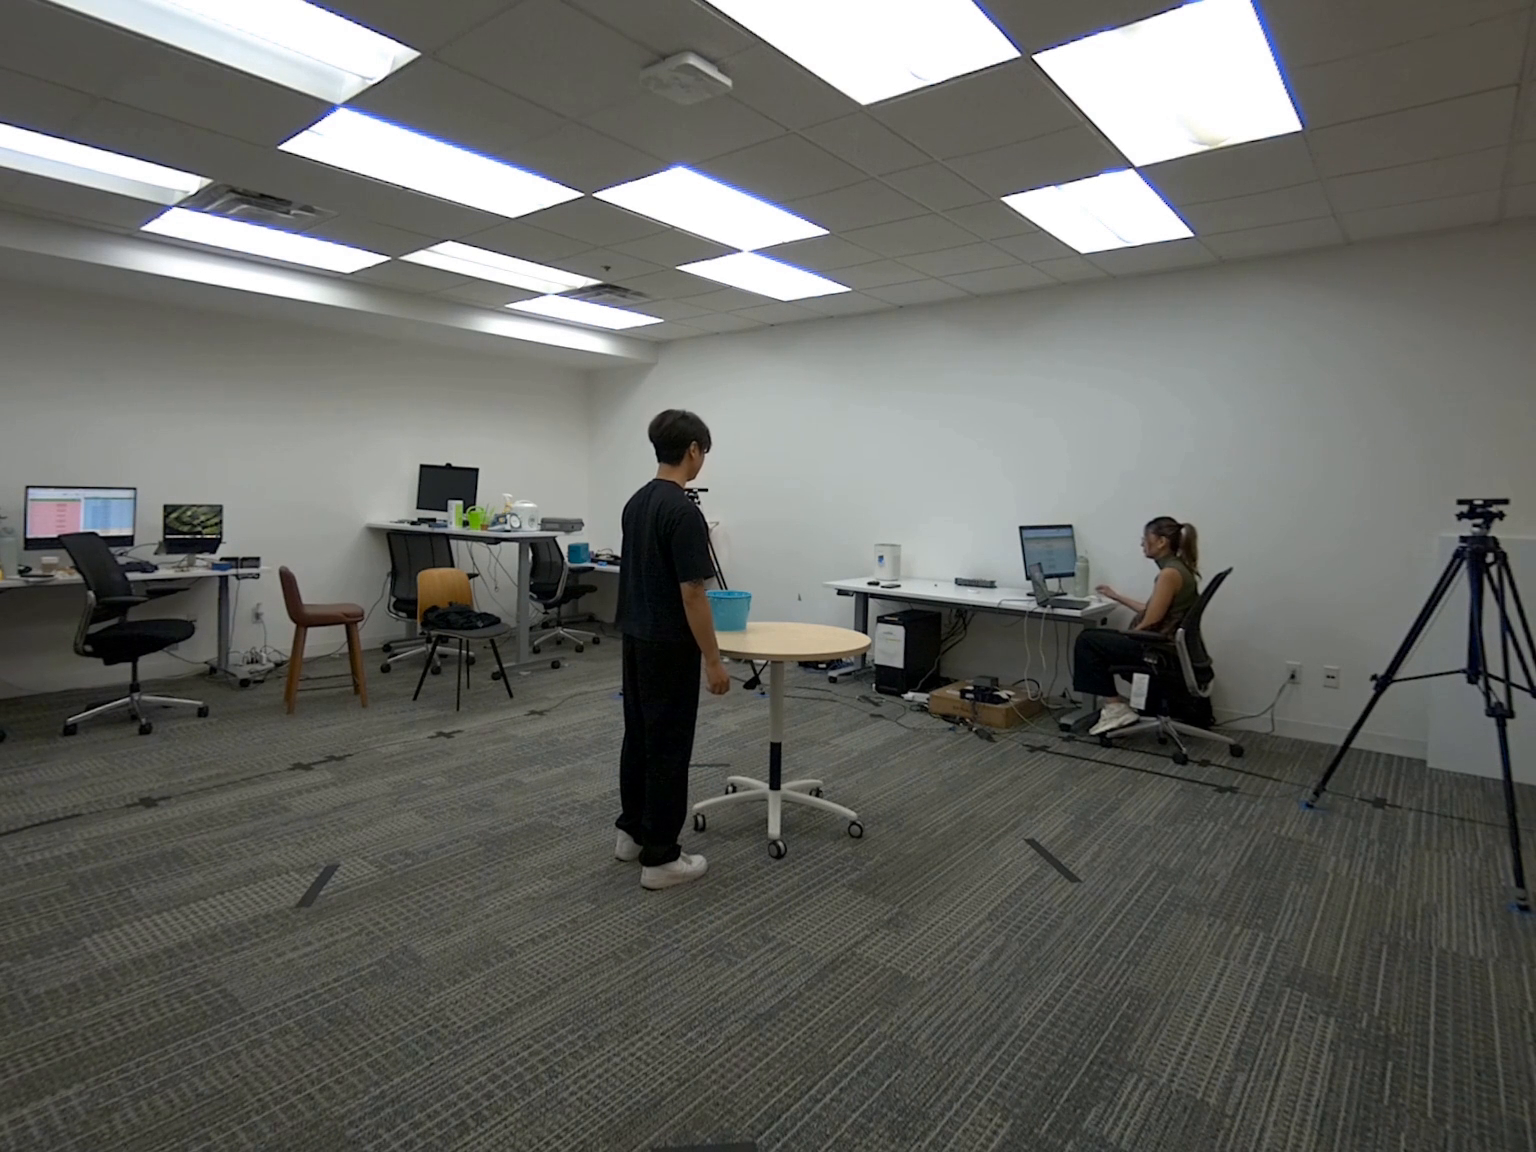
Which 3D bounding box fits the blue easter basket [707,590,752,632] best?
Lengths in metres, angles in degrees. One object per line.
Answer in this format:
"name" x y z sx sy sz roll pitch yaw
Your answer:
"blue easter basket" -0.192 0.151 3.769 0.243 0.155 0.245 2 6 -2
